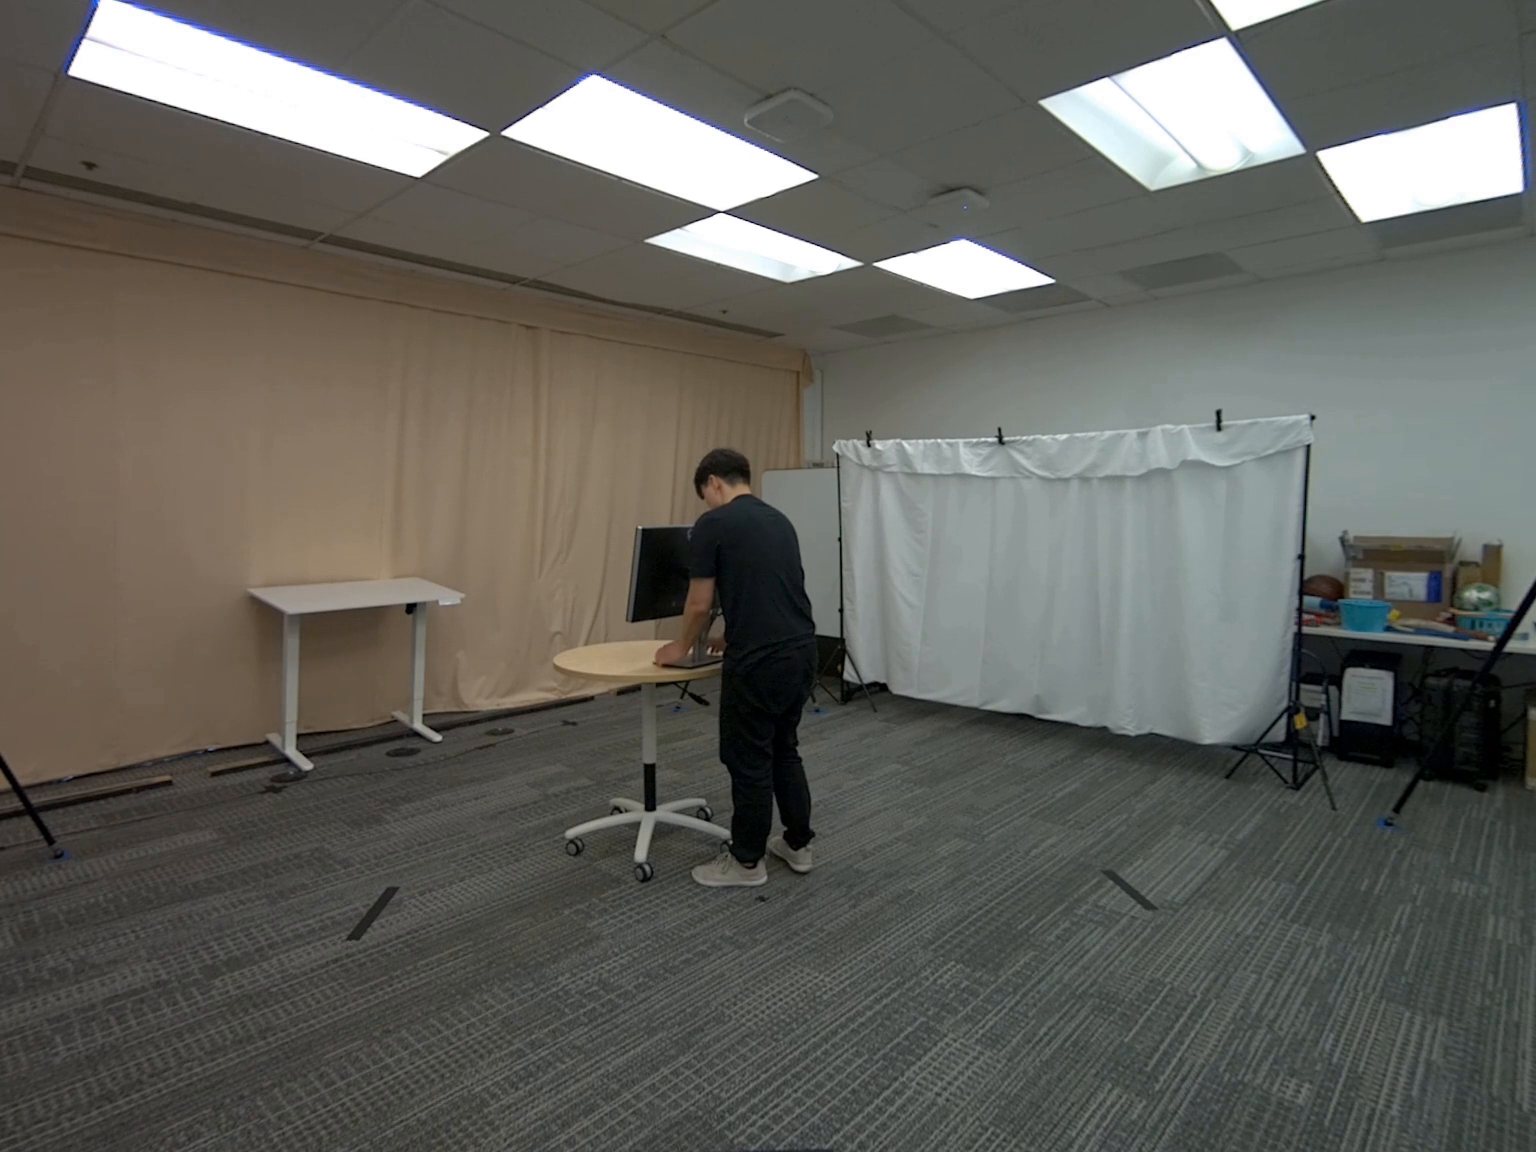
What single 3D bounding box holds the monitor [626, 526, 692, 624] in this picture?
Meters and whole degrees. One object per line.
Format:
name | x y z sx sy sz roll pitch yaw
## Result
monitor | -0.311 0.072 3.293 0.193 0.522 0.523 0 3 36
